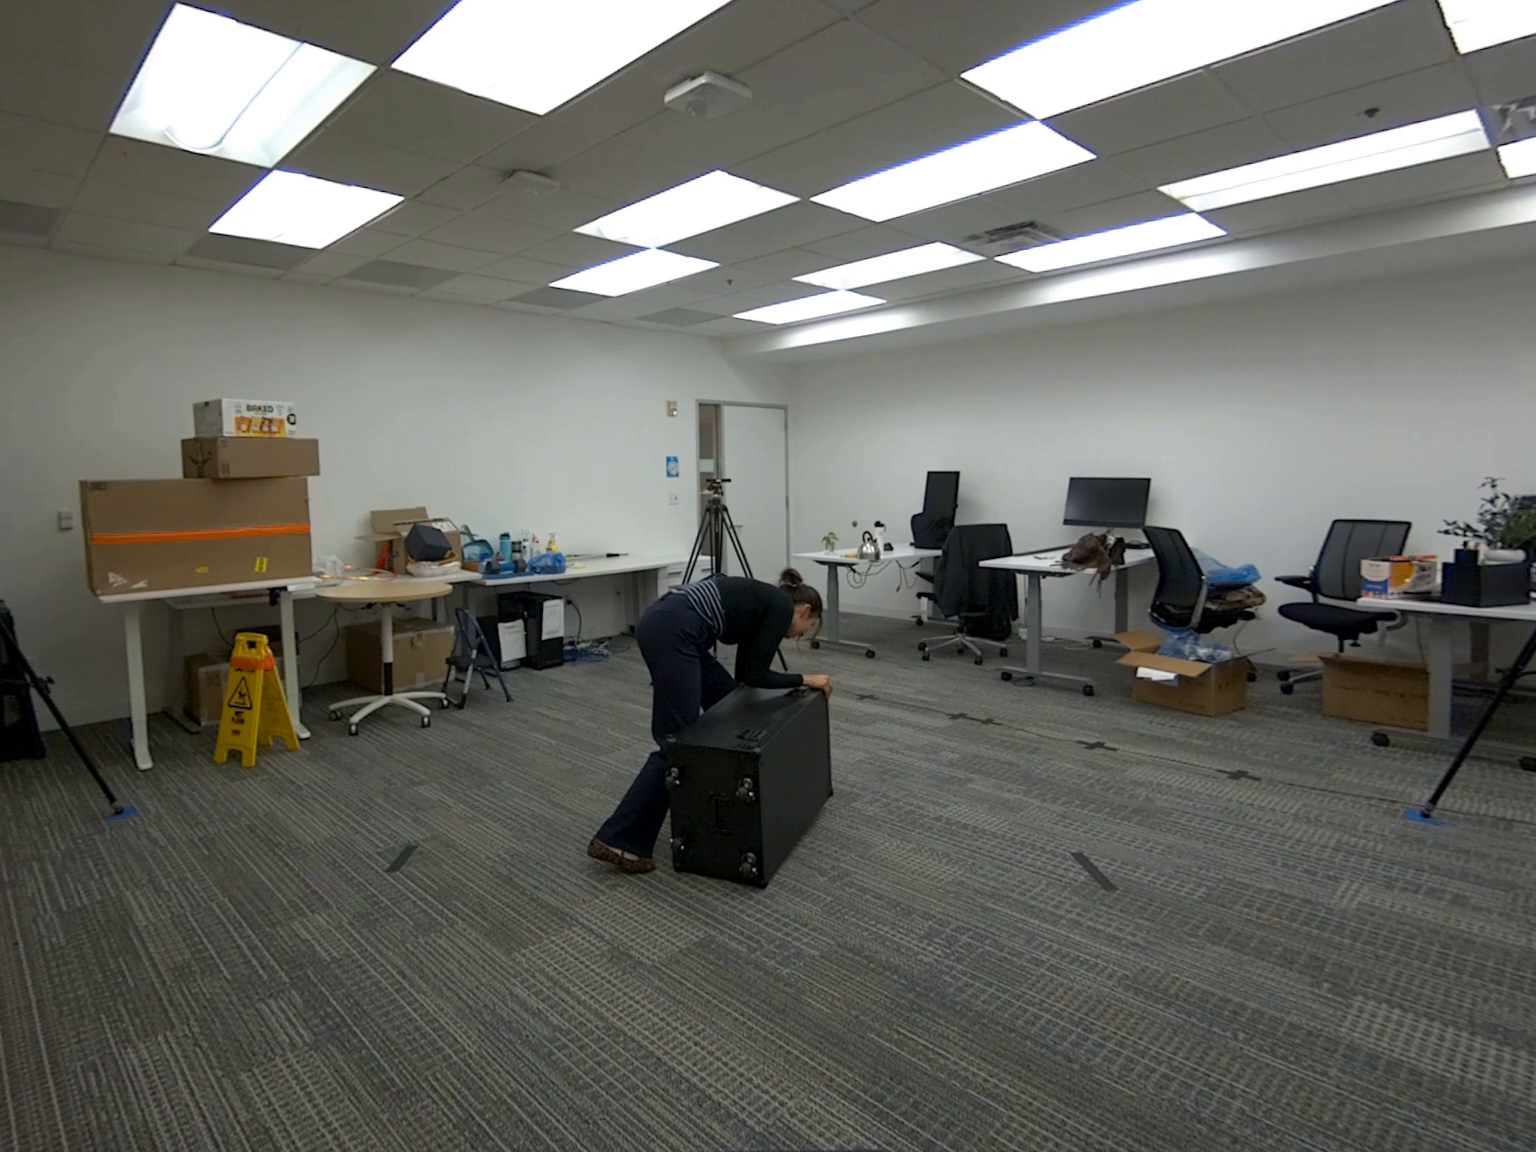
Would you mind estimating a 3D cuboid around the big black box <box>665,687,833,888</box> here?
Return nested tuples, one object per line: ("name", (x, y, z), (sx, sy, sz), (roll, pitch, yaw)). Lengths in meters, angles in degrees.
("big black box", (-0.064, 0.753, 3.272), (0.405, 0.517, 0.849), (0, 9, 22))
